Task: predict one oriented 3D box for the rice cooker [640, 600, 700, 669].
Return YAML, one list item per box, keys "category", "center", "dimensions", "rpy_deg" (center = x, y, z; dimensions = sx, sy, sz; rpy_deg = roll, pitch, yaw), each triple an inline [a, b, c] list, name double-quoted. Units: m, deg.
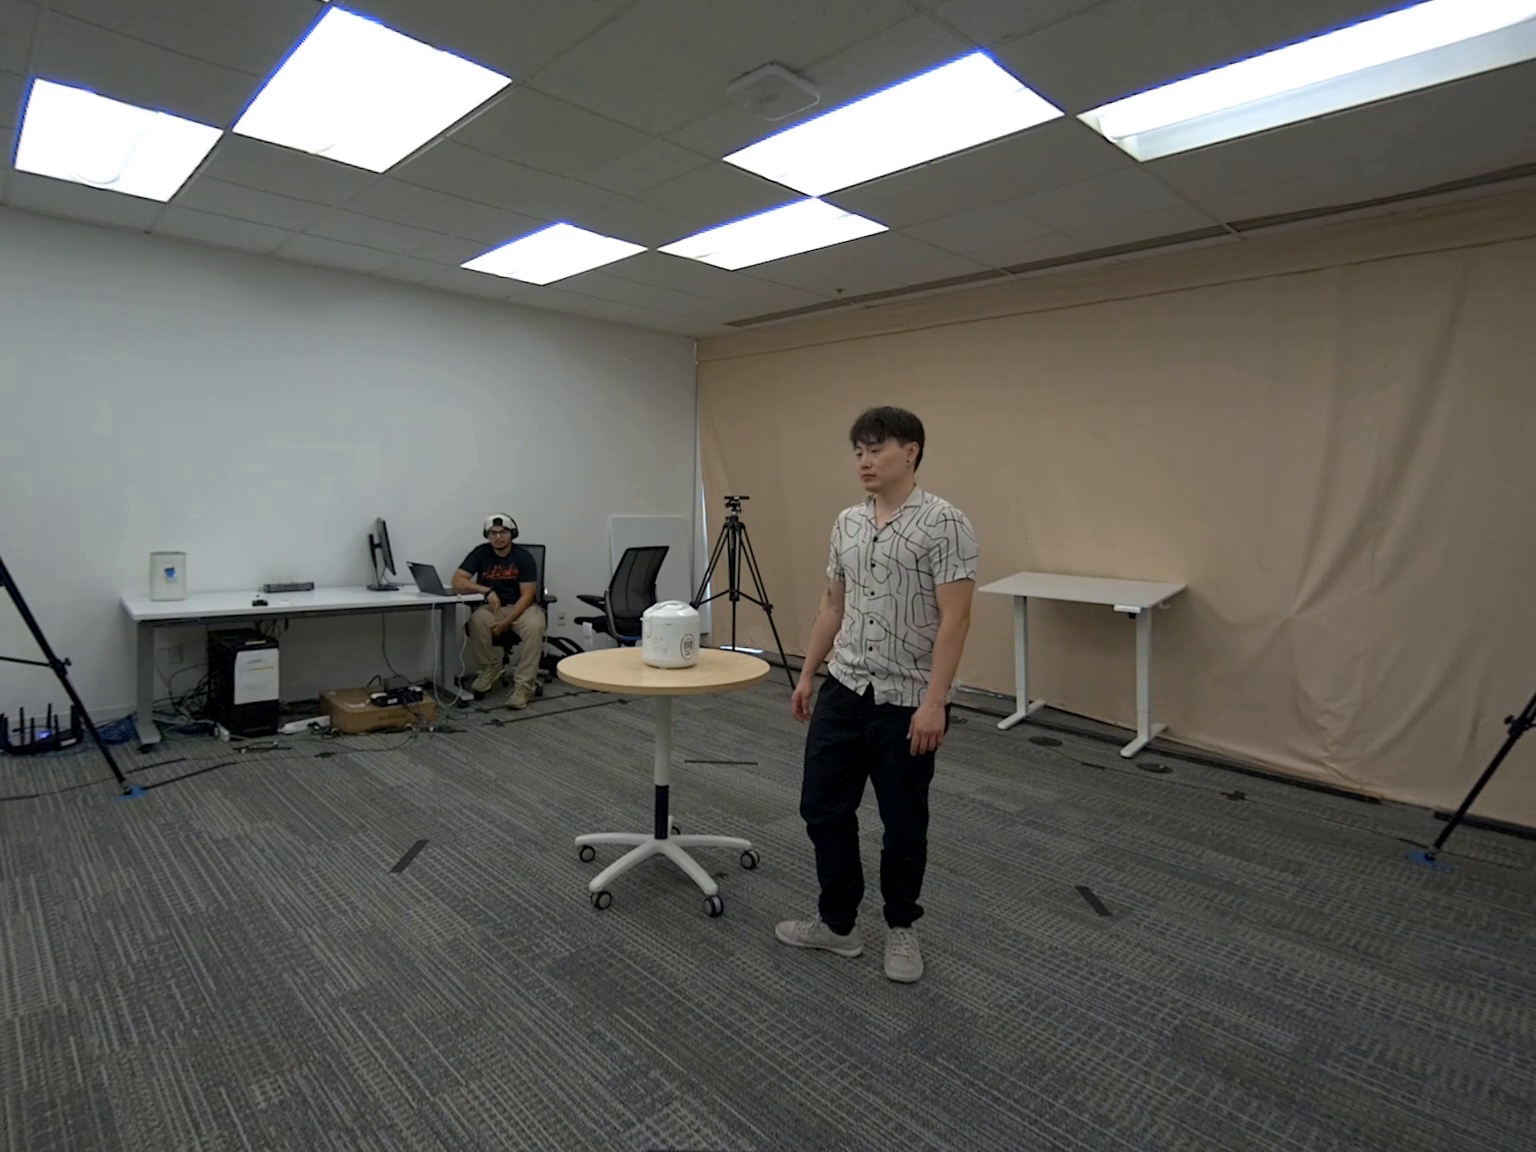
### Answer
- category: "rice cooker"
  center: [-0.354, 0.206, 3.046]
  dimensions: [0.215, 0.232, 0.223]
  rpy_deg: [-1, 3, -40]
